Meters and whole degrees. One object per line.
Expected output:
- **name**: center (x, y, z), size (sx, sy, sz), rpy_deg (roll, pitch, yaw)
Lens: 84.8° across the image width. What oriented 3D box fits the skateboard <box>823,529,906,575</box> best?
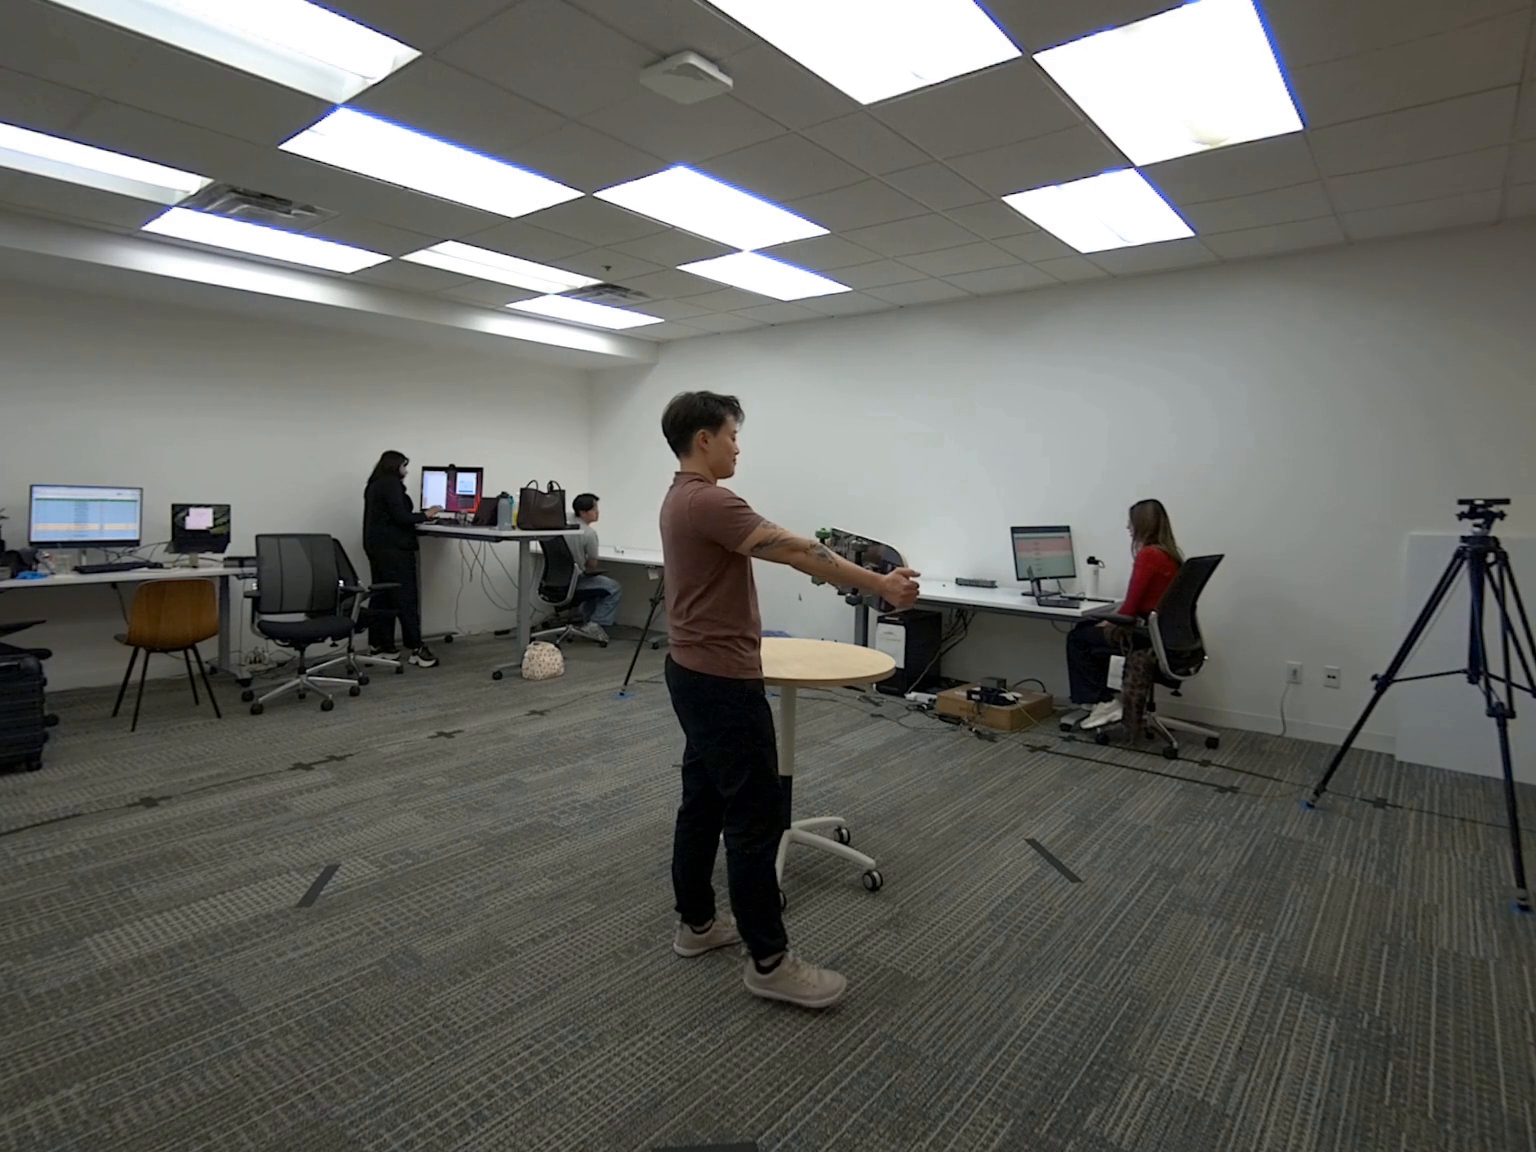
- **skateboard**: center (0.236, -0.032, 2.630), size (0.109, 0.192, 0.797), rpy_deg (3, 7, -10)
